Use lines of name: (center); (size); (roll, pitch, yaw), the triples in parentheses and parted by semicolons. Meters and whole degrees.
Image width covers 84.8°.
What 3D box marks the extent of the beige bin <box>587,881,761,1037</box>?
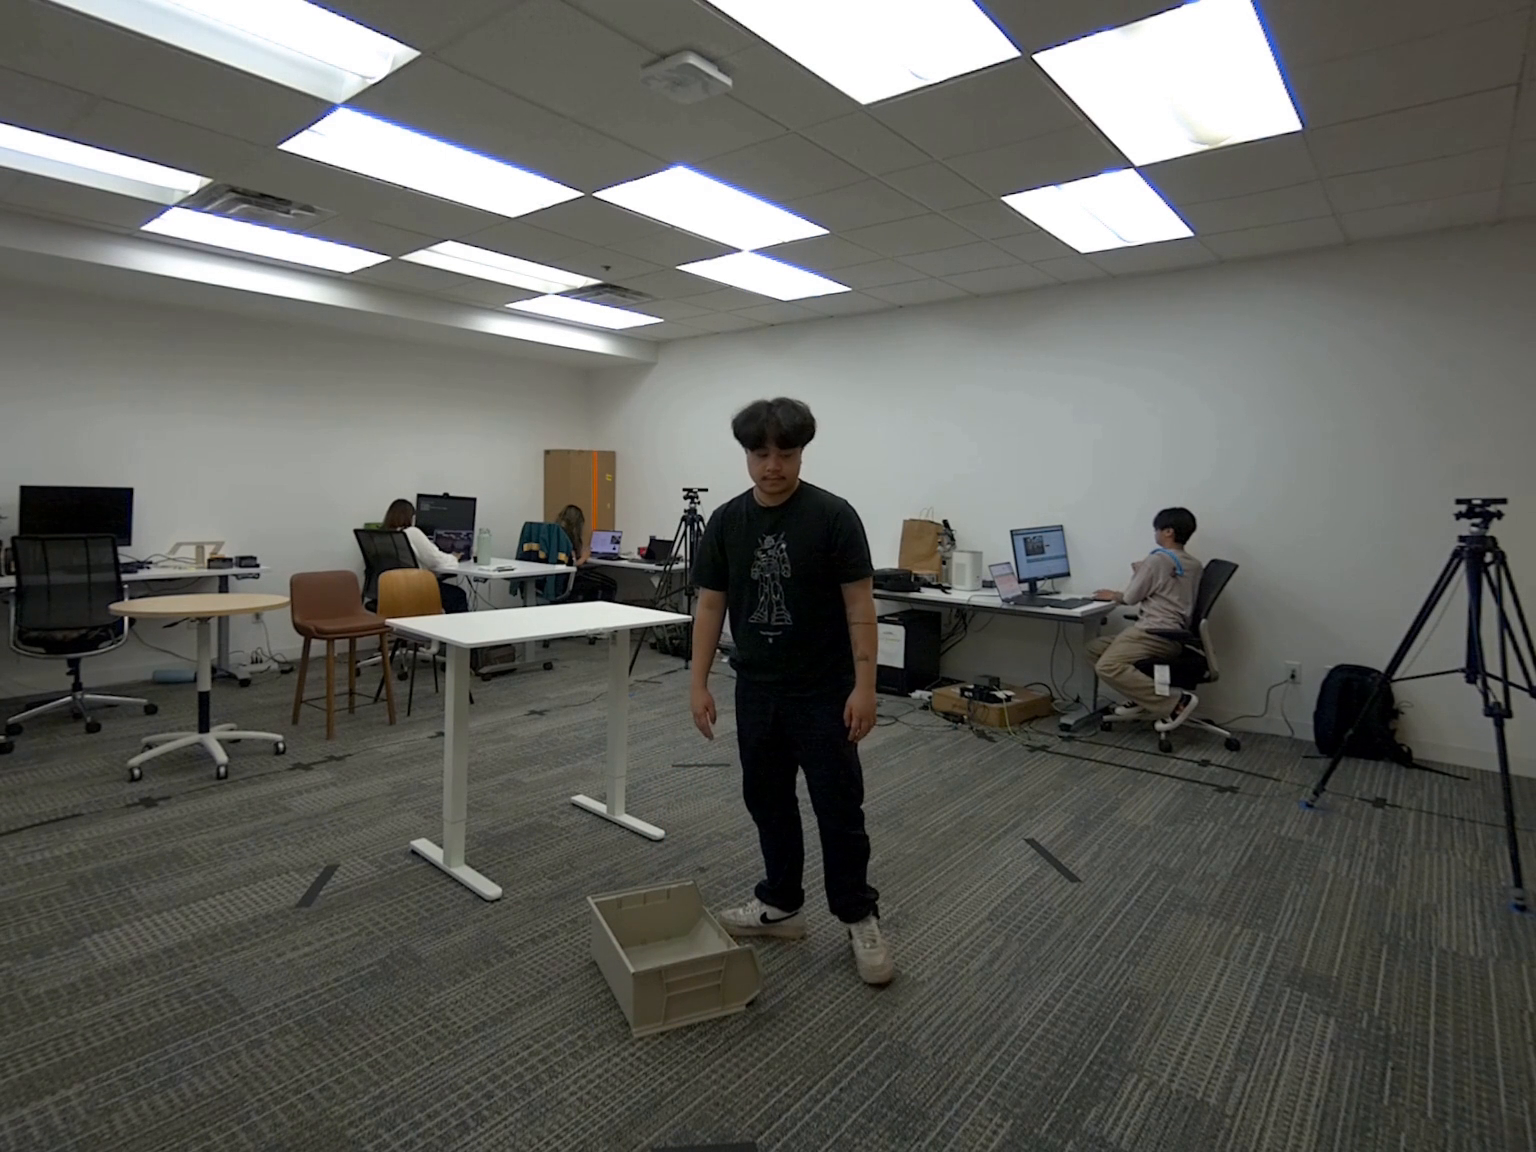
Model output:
beige bin: (-0.276, 1.052, 2.397); (0.368, 0.188, 0.434); (-2, 7, -26)
